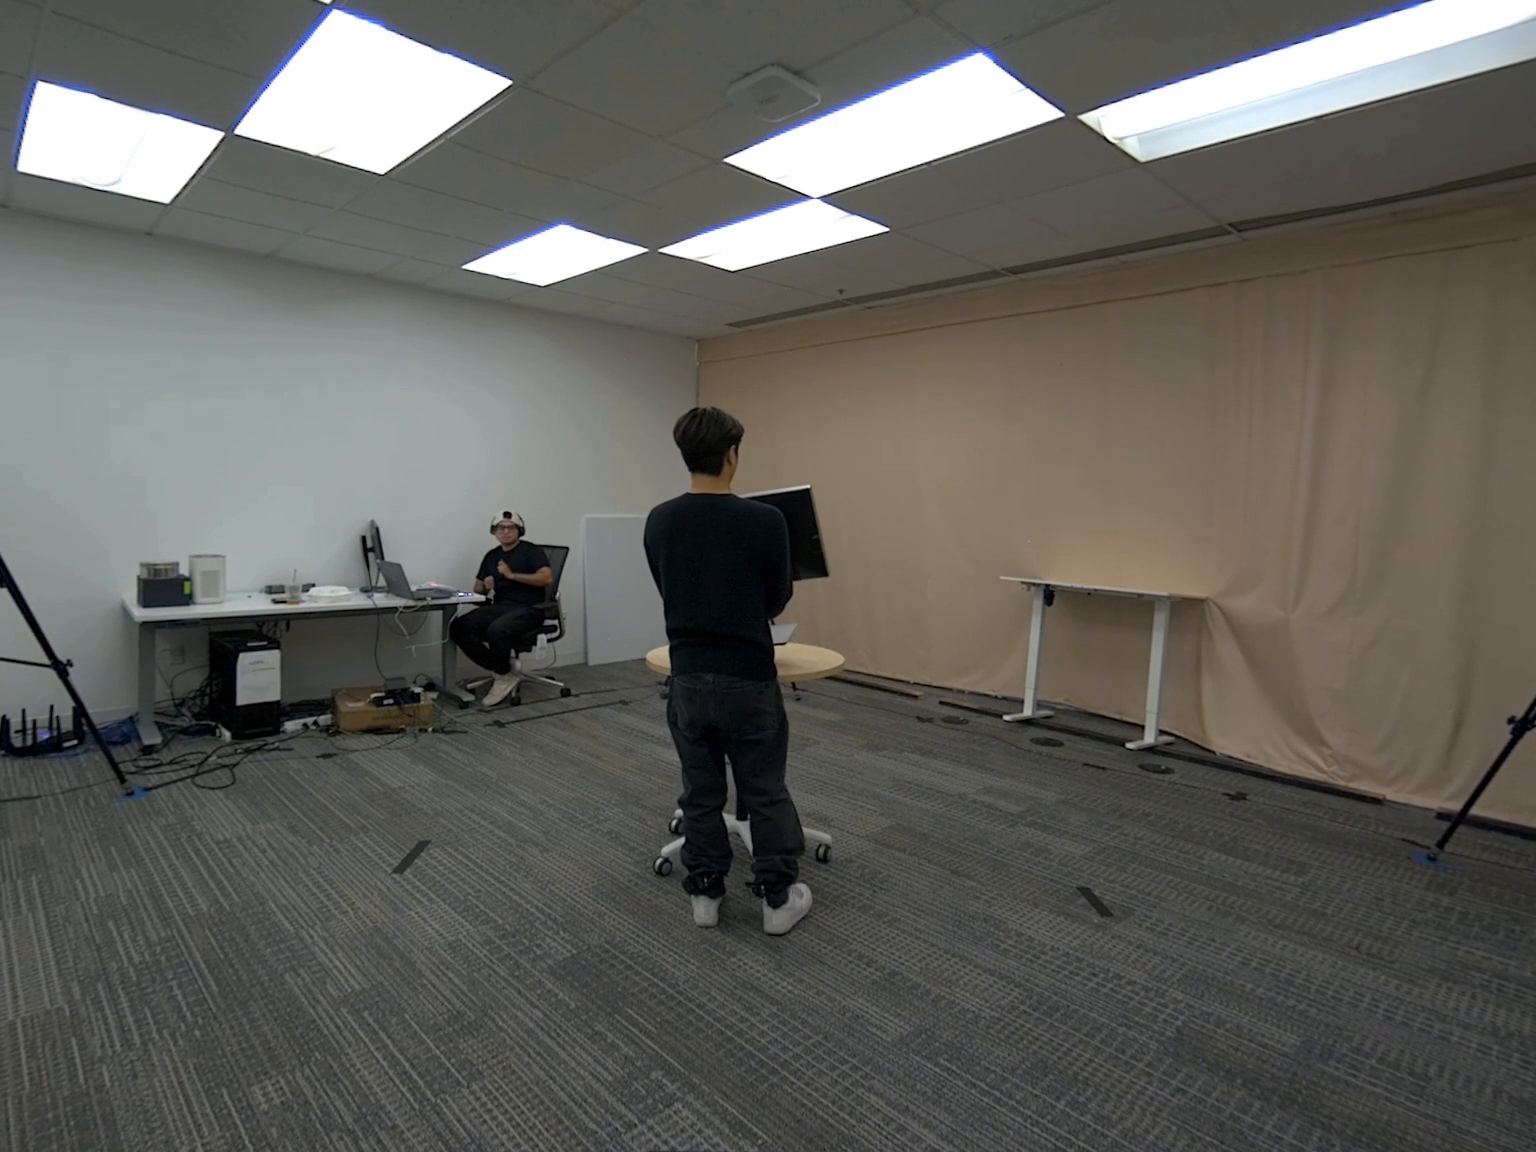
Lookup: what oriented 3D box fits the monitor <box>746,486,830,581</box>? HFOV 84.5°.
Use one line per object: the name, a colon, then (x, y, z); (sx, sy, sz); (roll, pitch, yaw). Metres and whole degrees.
monitor: (-0.074, -0.019, 3.055); (0.545, 0.517, 0.187); (-7, 12, 16)
